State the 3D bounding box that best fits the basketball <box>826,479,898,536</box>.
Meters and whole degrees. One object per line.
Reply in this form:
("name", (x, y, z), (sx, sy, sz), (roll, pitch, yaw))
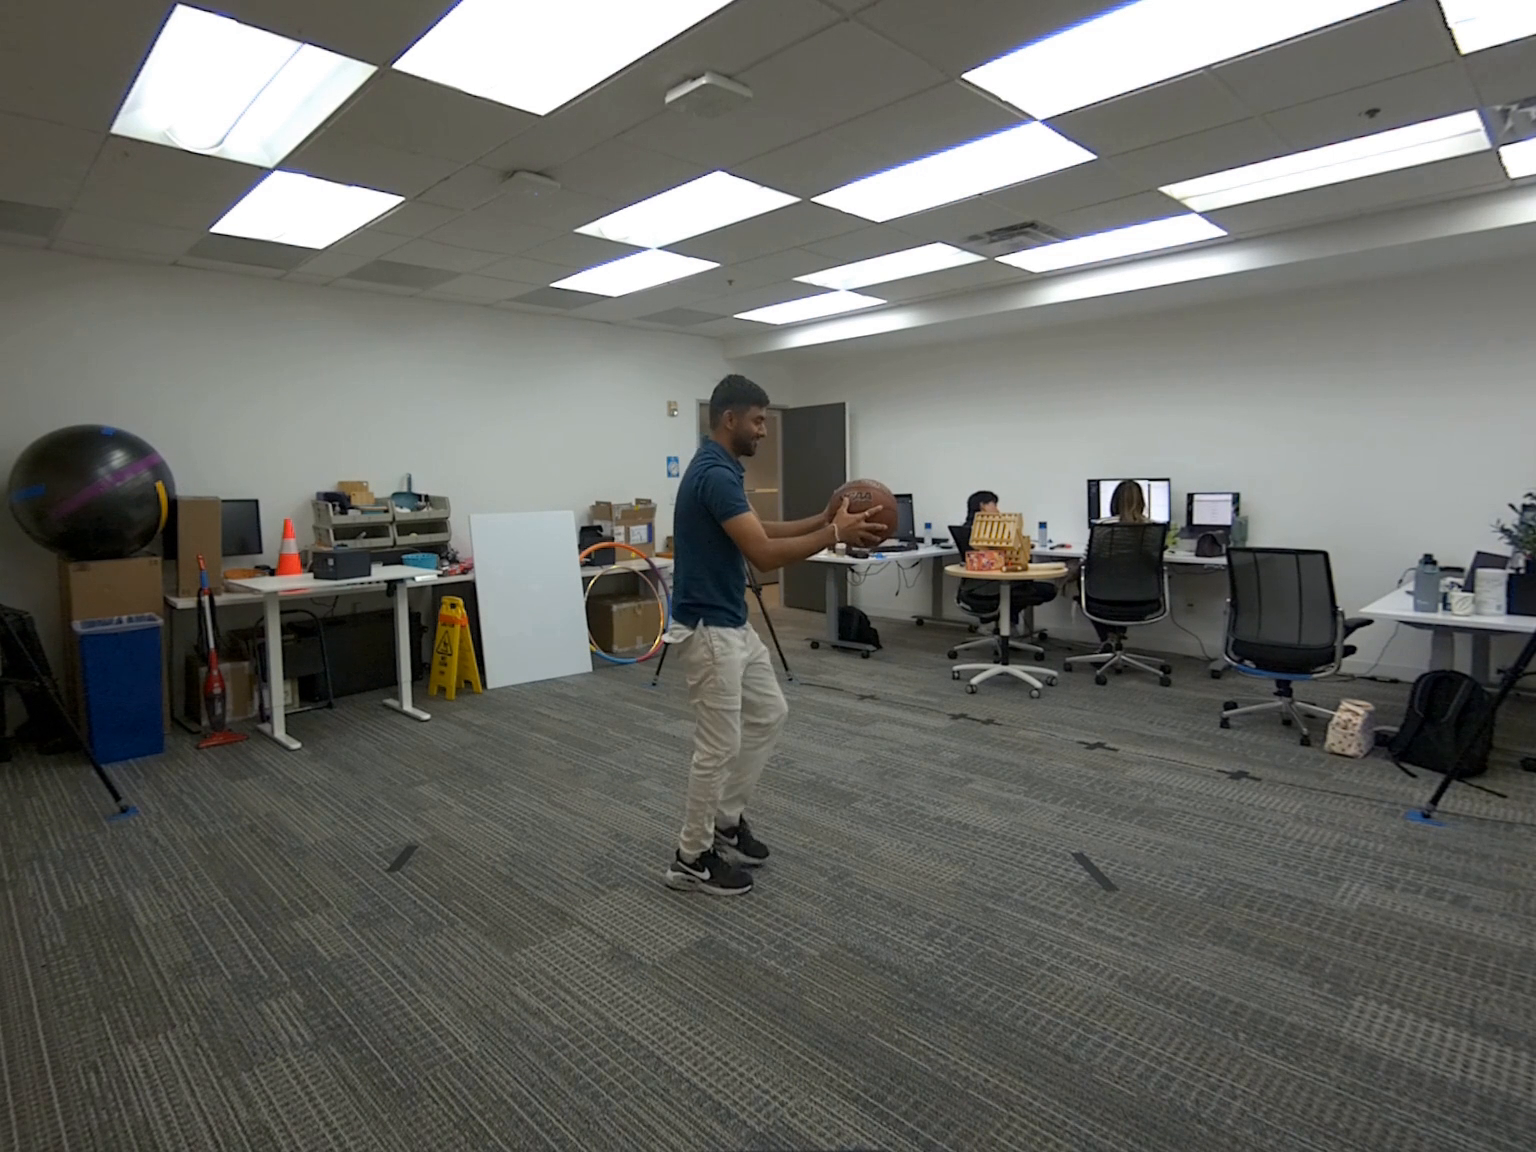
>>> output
("basketball", (0.320, -0.221, 2.915), (0.236, 0.235, 0.237), (-1, 5, -2))
